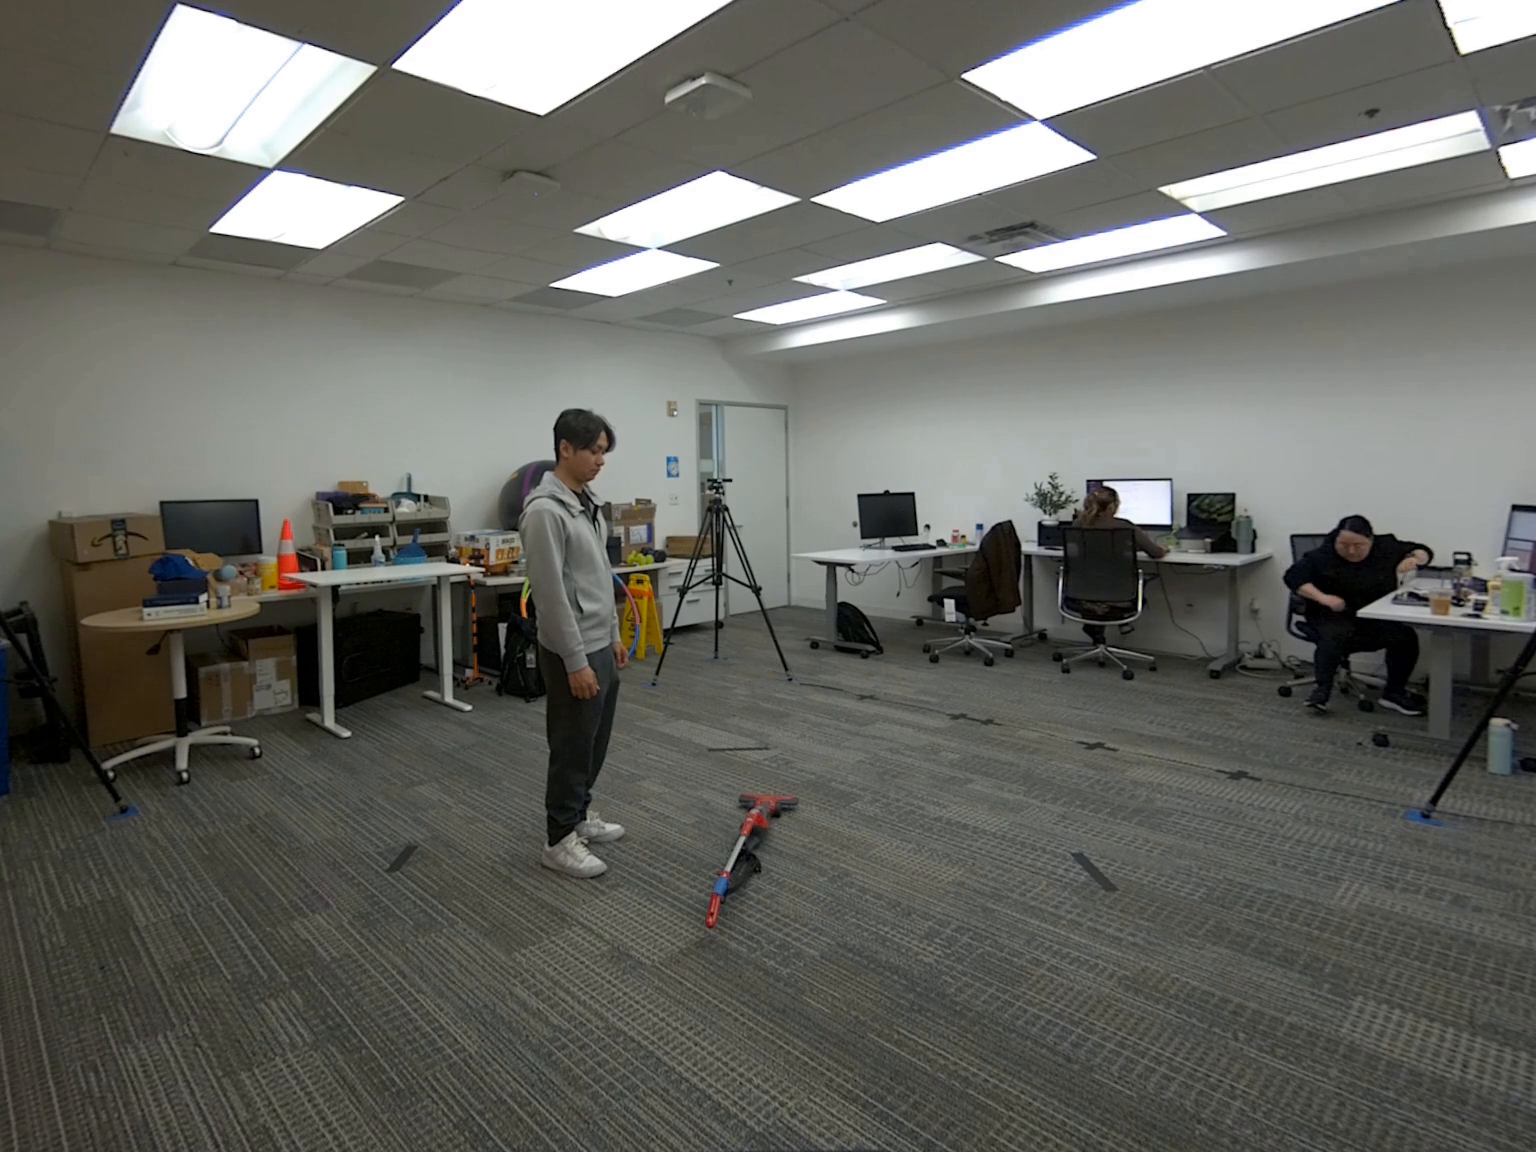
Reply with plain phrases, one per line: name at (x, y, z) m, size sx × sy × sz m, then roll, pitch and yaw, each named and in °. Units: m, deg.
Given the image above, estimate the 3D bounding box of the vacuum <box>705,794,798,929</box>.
vacuum at (-0.088, 0.998, 3.058) m, size 0.255 × 0.143 × 1.041 m, roll 7°, pitch 5°, yaw 8°
